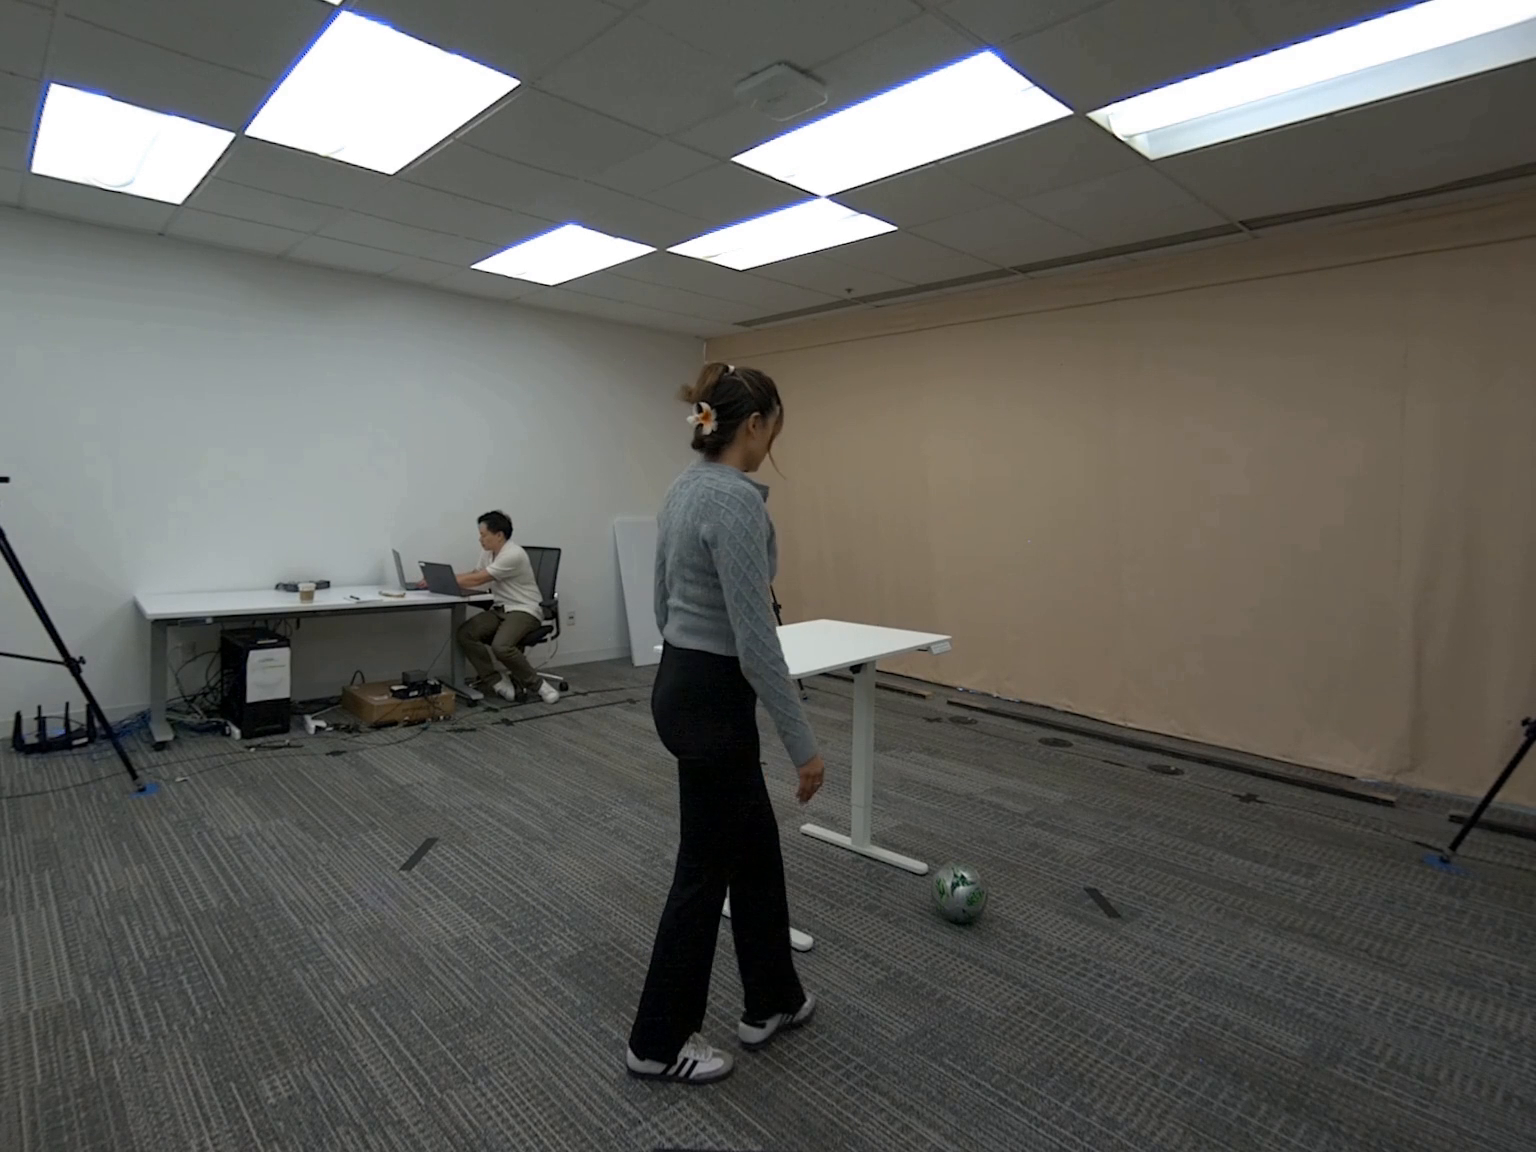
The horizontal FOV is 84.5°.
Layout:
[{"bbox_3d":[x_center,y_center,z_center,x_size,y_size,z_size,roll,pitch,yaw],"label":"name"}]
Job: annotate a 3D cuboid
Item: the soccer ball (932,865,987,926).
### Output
[{"bbox_3d":[0.633,1.054,2.809,0.187,0.187,0.188,1,4,-1],"label":"soccer ball"}]
